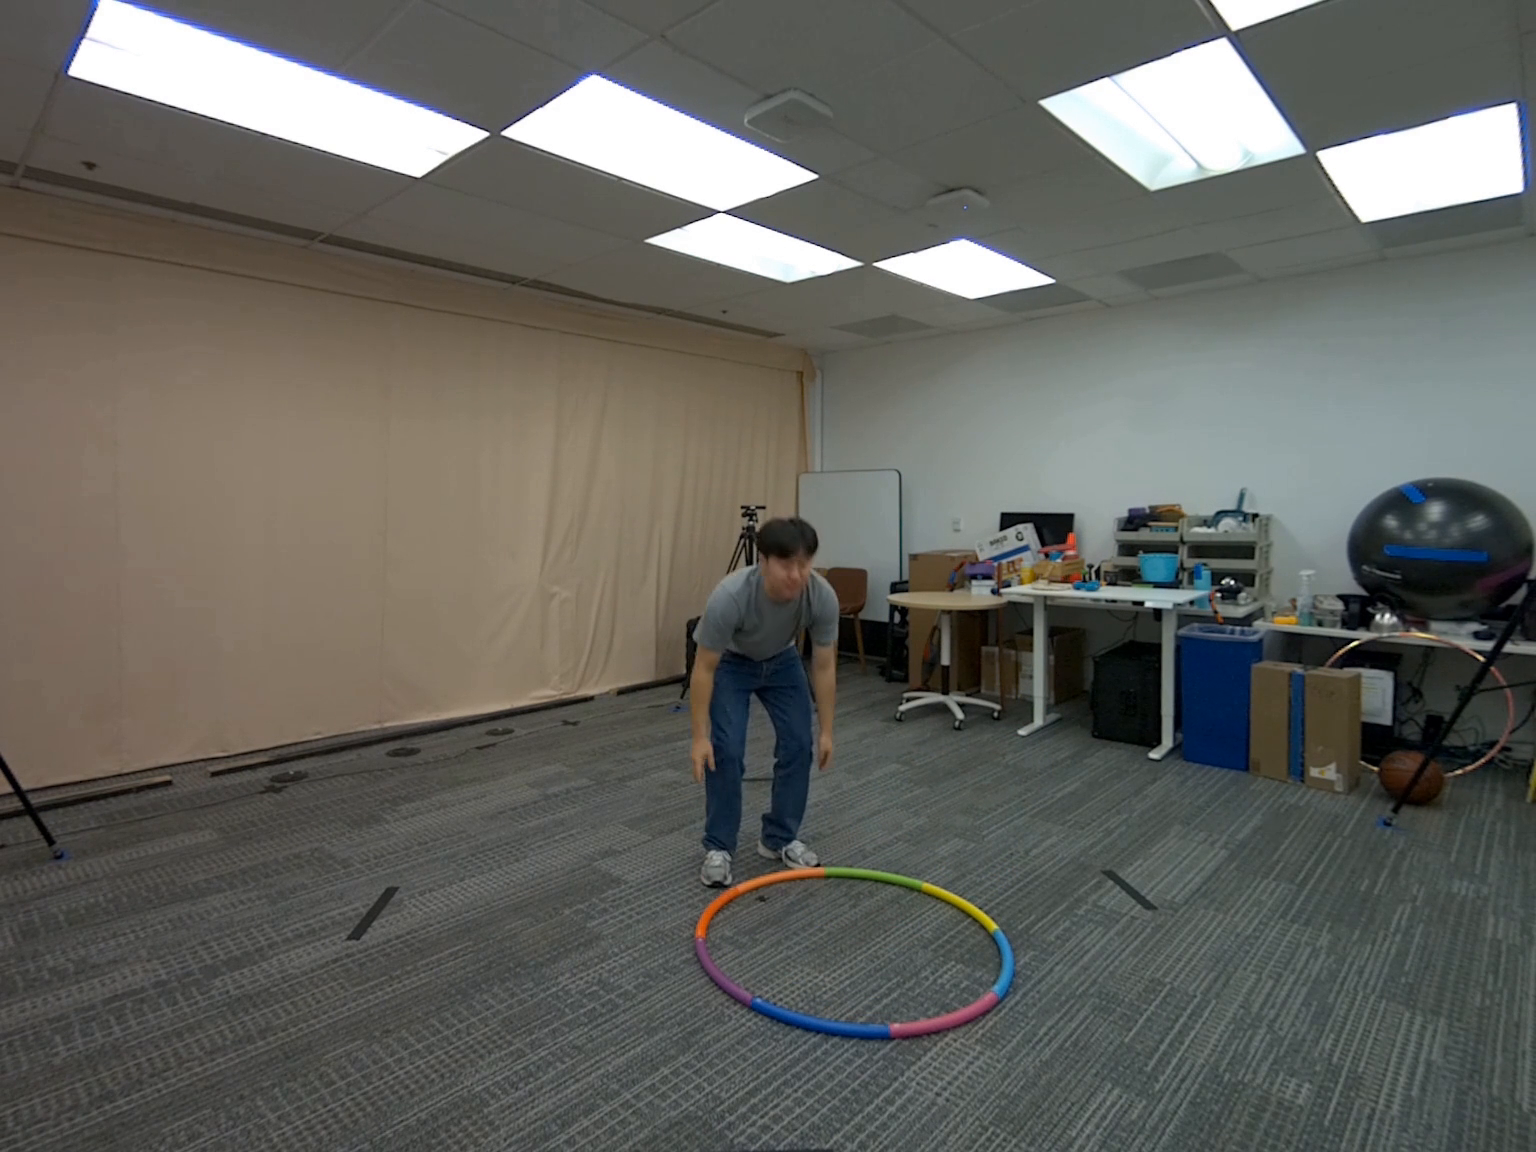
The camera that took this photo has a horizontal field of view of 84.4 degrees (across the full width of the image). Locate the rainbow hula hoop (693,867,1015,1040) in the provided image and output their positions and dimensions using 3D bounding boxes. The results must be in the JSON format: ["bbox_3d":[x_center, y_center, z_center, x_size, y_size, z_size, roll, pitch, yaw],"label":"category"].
[{"bbox_3d":[0.264,1.139,2.683,0.978,0.035,0.982,0,5,-2],"label":"rainbow hula hoop"}]
